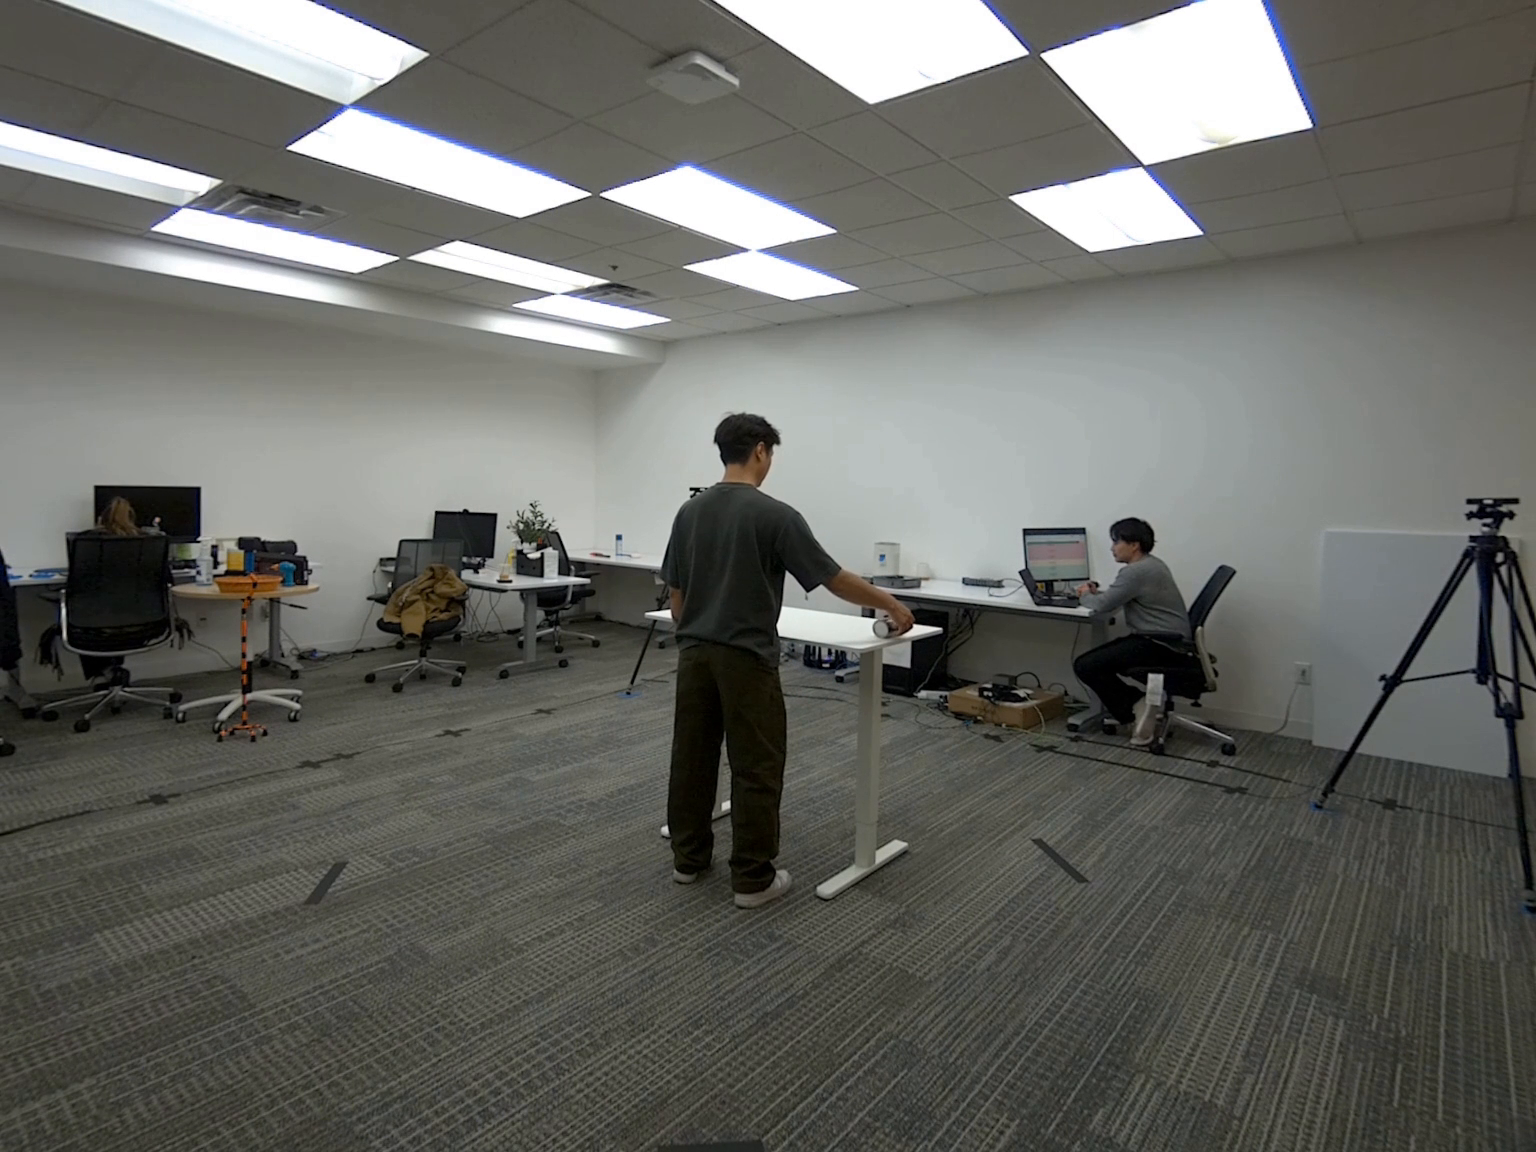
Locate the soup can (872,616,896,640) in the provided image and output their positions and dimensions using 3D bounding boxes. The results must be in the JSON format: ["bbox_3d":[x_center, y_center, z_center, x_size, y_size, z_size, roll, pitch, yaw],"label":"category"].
[{"bbox_3d":[0.419,0.173,2.998,0.069,0.067,0.118,5,9,43],"label":"soup can"}]
